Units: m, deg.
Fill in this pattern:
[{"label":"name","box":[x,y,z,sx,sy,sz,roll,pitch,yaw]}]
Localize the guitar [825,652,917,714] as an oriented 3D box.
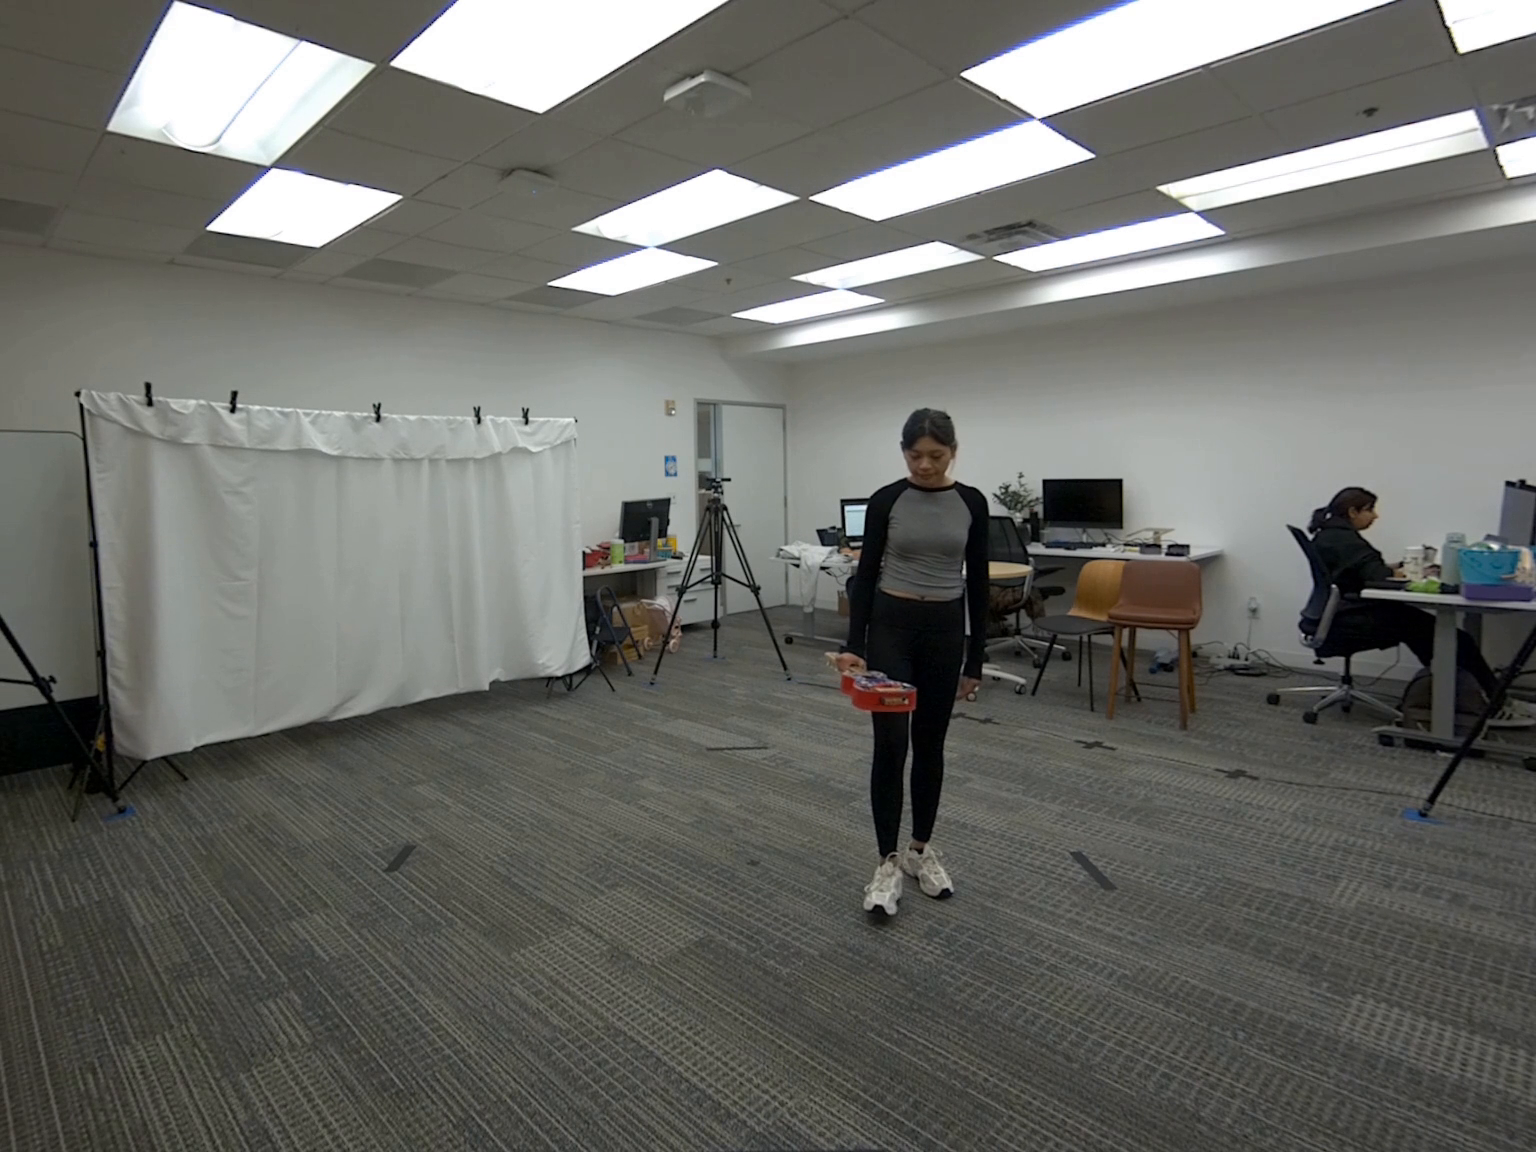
[{"label":"guitar","box":[0.312,0.333,2.742,0.192,0.070,0.504,3,7,-8]}]
